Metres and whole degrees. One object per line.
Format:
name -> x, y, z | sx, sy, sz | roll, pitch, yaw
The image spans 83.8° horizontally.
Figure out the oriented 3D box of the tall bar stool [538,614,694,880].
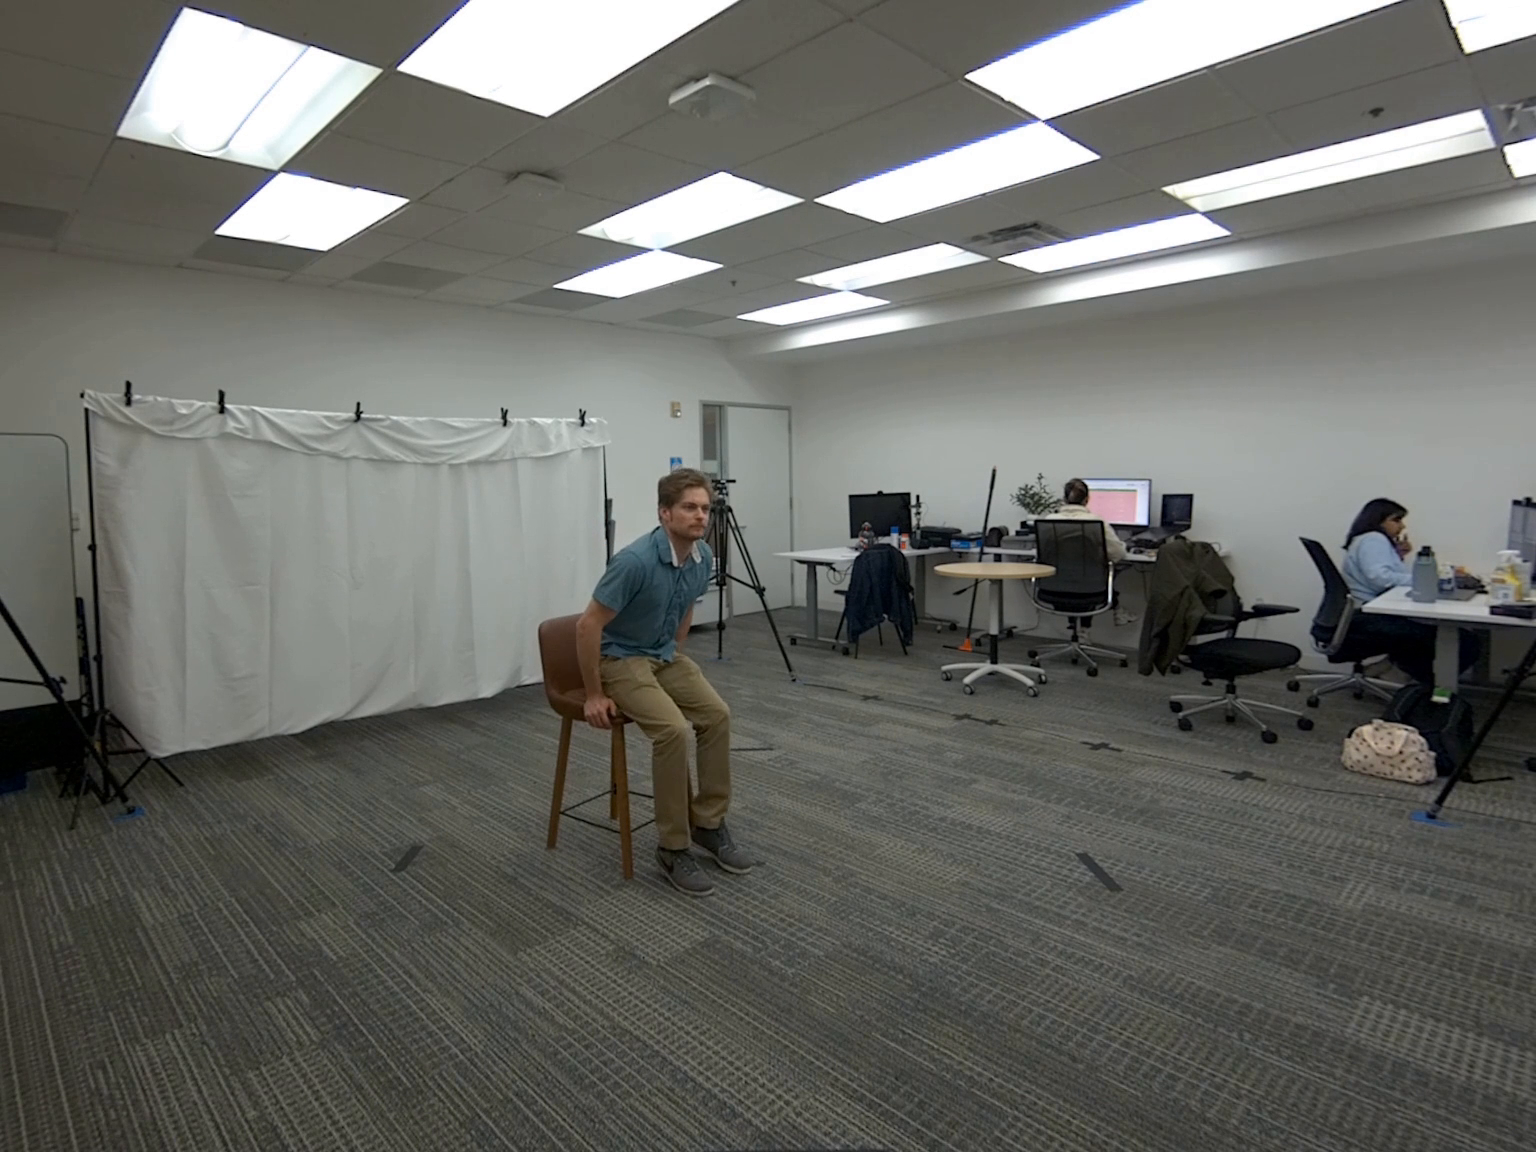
tall bar stool -> -0.576, 0.601, 3.279 | 0.480, 0.888, 0.445 | -1, 3, 36
